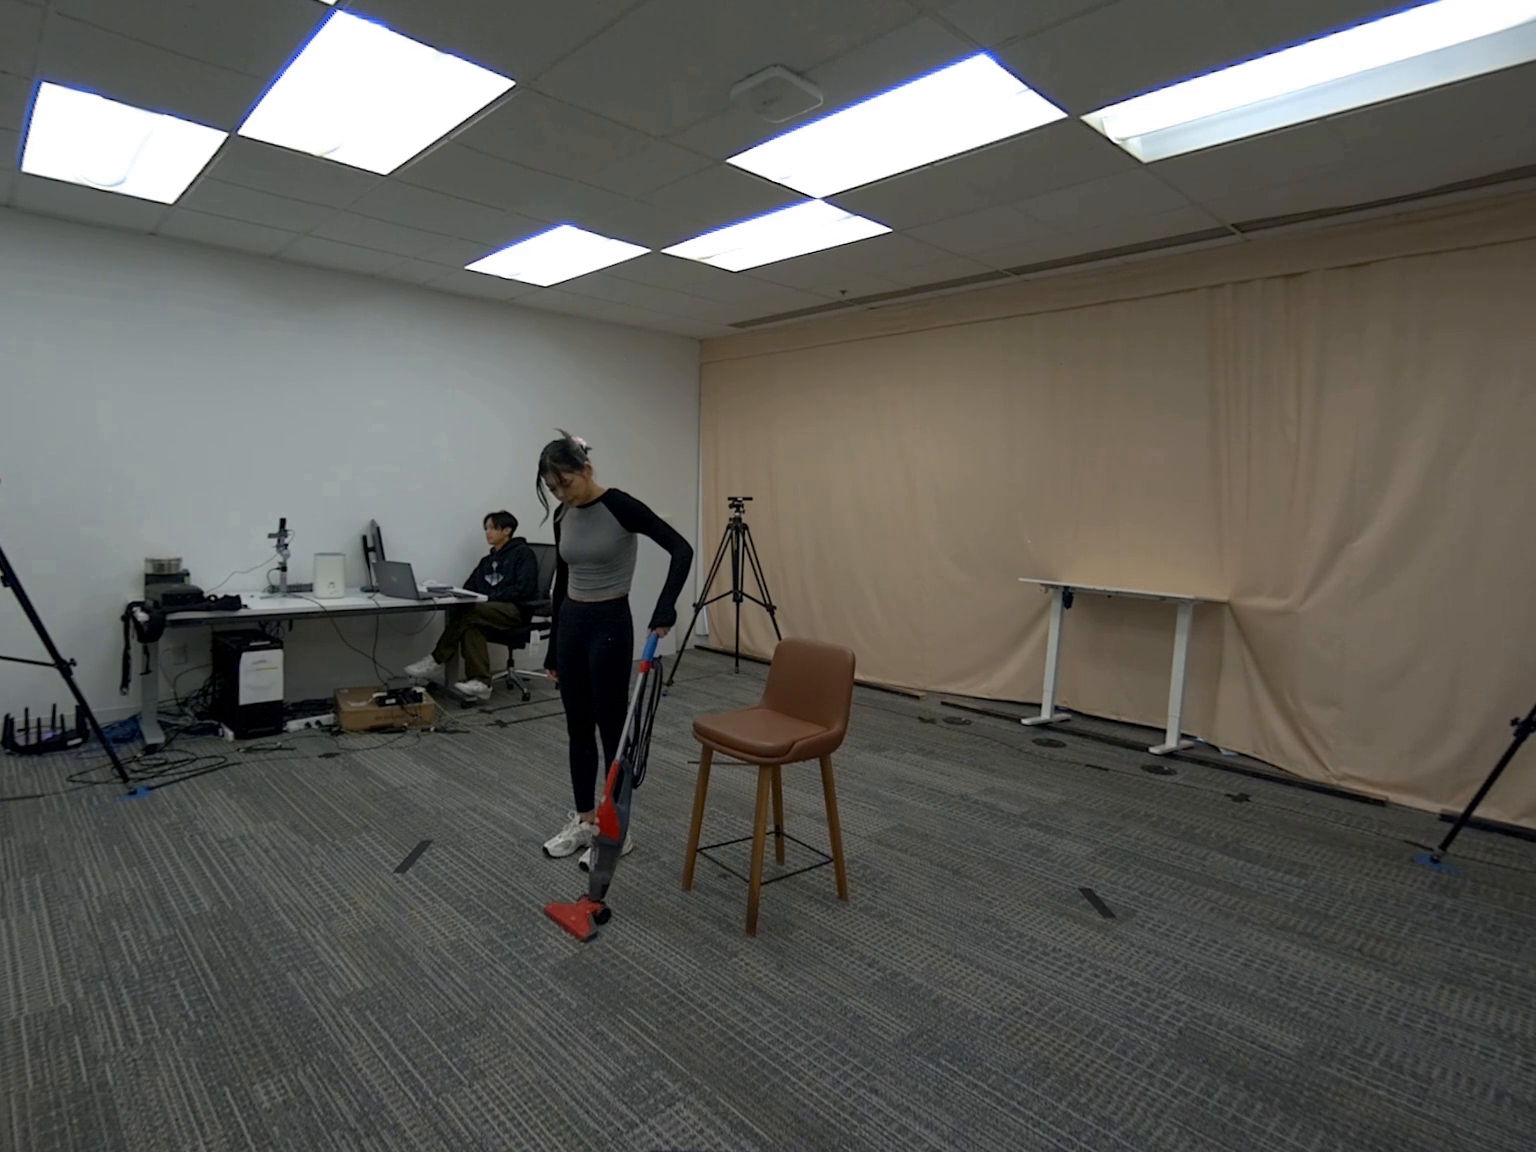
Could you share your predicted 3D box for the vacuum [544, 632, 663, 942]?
[{"bbox_3d":[-0.480,0.634,2.838,0.259,1.055,0.139,4,-15,41],"label":"vacuum"}]
